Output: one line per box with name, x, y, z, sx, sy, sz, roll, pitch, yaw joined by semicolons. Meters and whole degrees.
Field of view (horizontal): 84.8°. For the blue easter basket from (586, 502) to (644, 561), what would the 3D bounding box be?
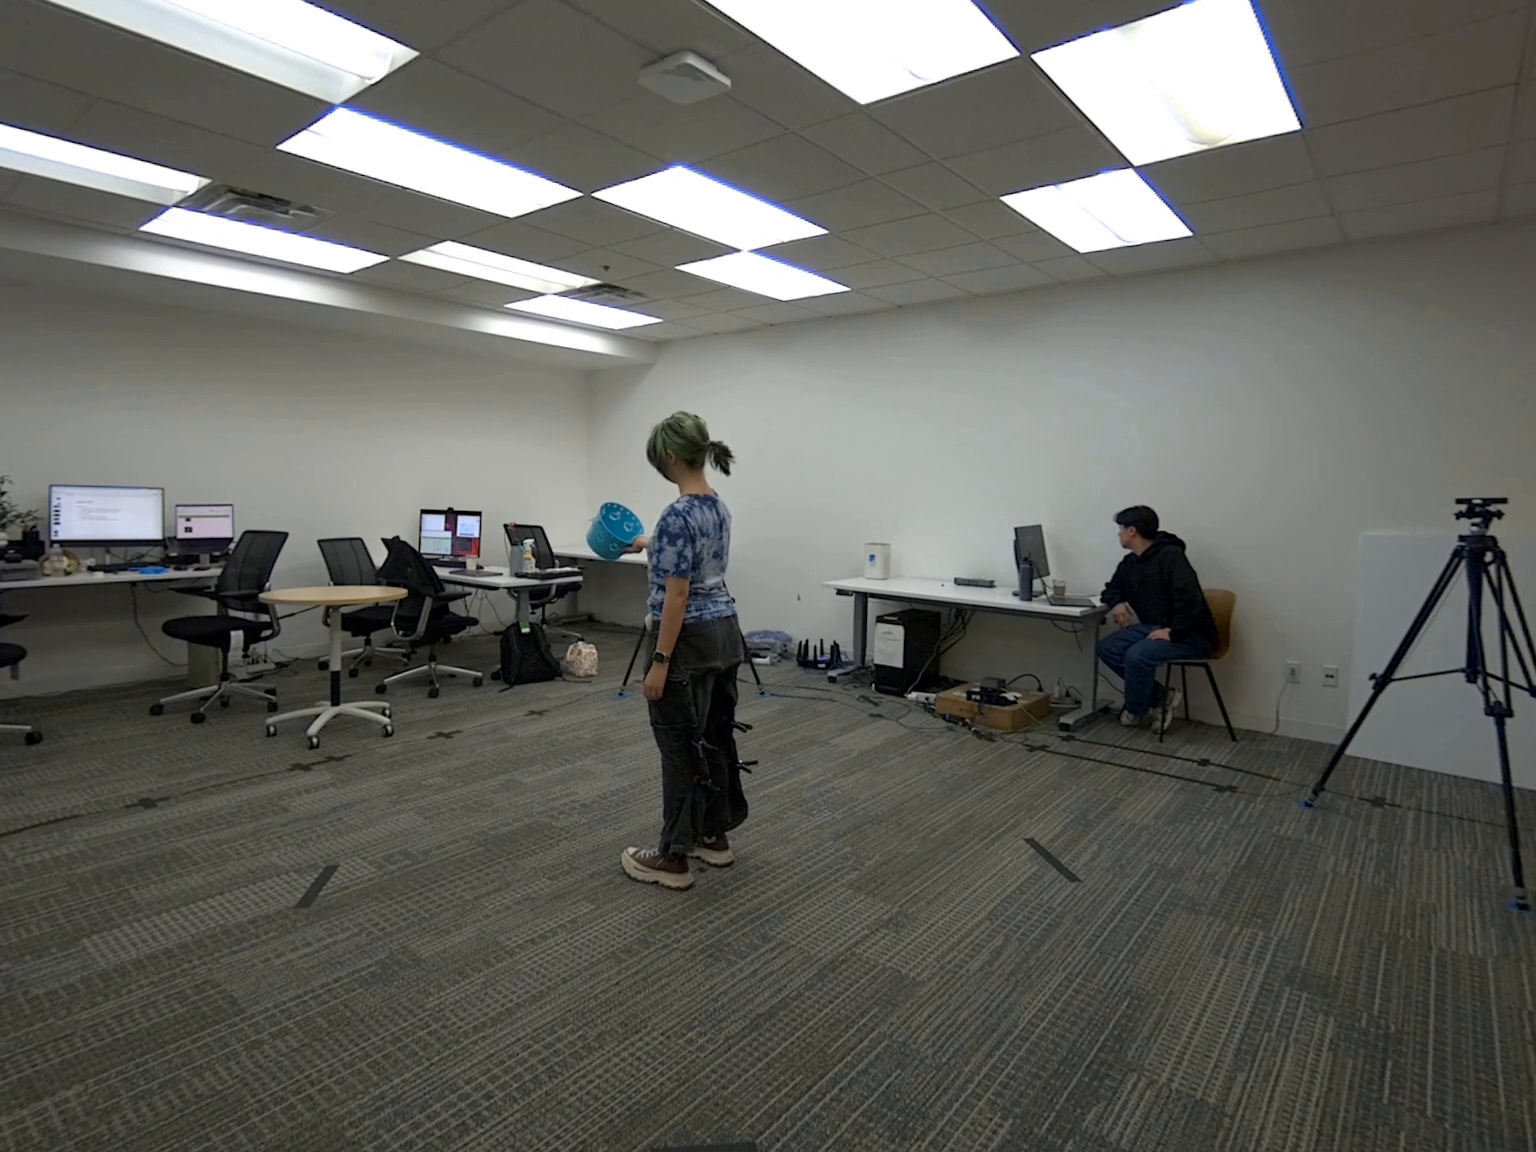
blue easter basket;-0.680;-0.187;3.707;0.236;0.251;0.156;-4;-35;-52
